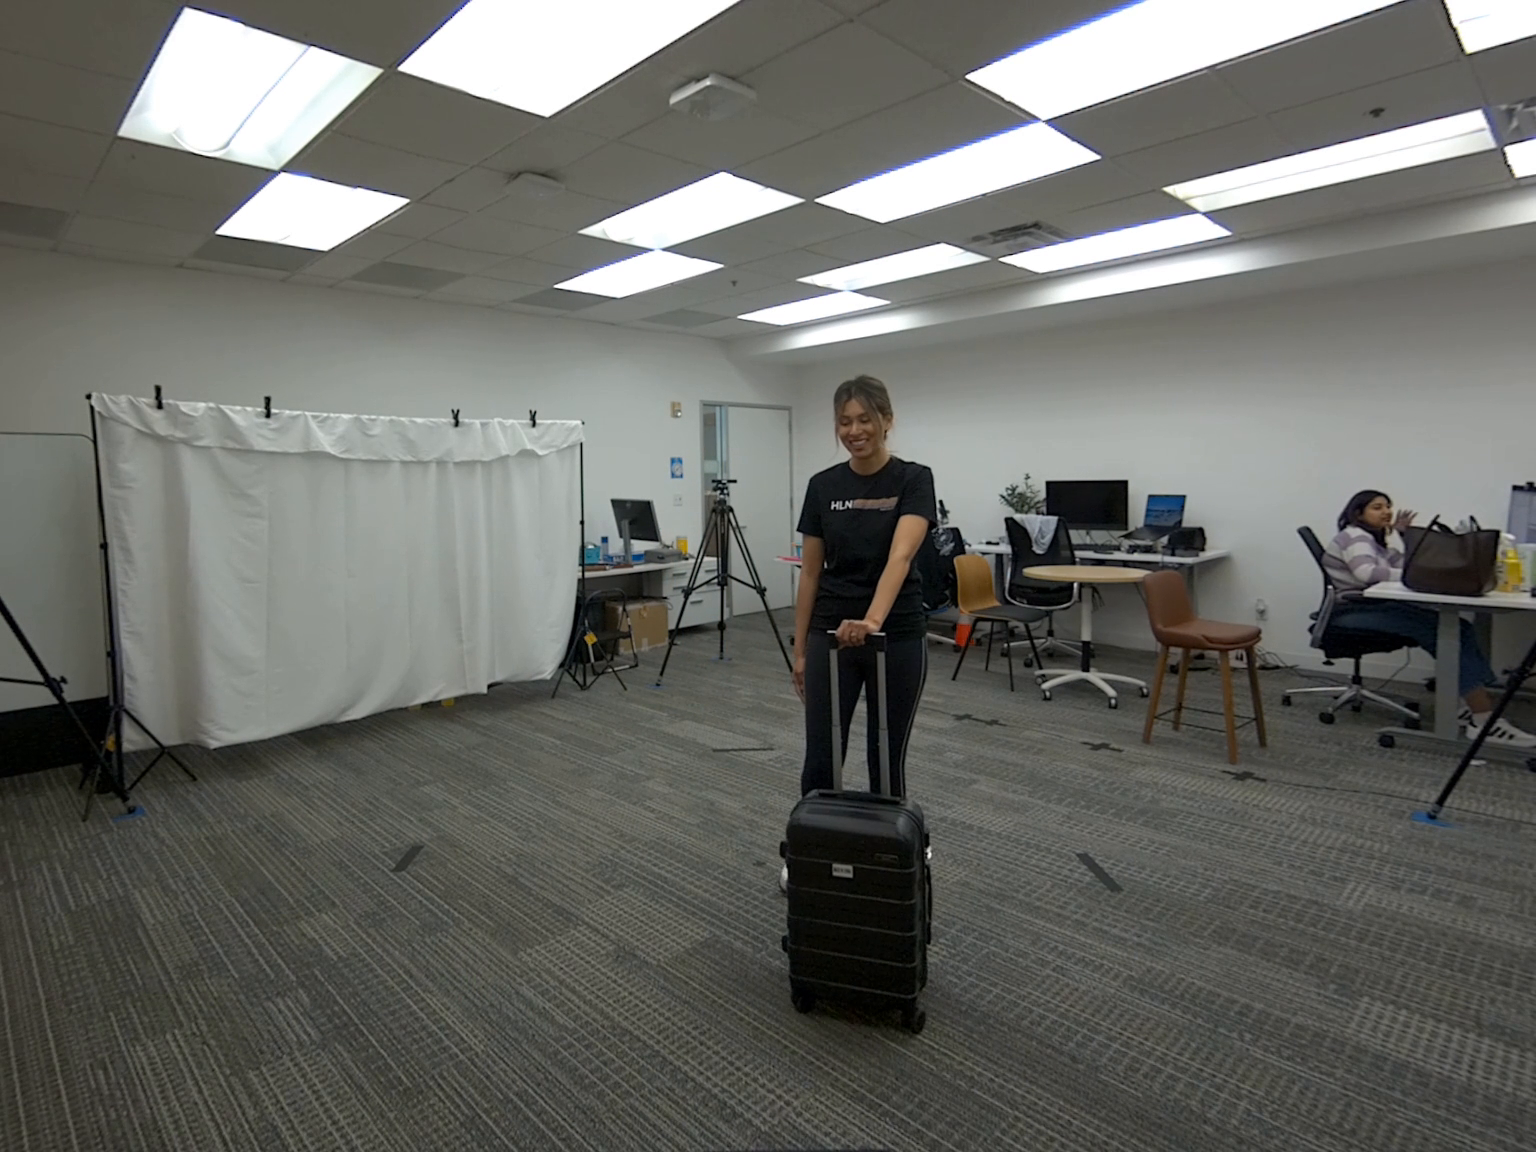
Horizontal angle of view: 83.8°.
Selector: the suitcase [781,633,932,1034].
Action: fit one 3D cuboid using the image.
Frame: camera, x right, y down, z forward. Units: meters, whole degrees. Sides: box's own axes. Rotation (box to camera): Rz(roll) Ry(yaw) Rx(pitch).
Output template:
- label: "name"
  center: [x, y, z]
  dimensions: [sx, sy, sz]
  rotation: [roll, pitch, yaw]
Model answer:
- label: "suitcase"
  center: [0.234, 0.666, 2.245]
  dimensions: [0.391, 0.971, 0.254]
  rotation: [0, 8, 19]
